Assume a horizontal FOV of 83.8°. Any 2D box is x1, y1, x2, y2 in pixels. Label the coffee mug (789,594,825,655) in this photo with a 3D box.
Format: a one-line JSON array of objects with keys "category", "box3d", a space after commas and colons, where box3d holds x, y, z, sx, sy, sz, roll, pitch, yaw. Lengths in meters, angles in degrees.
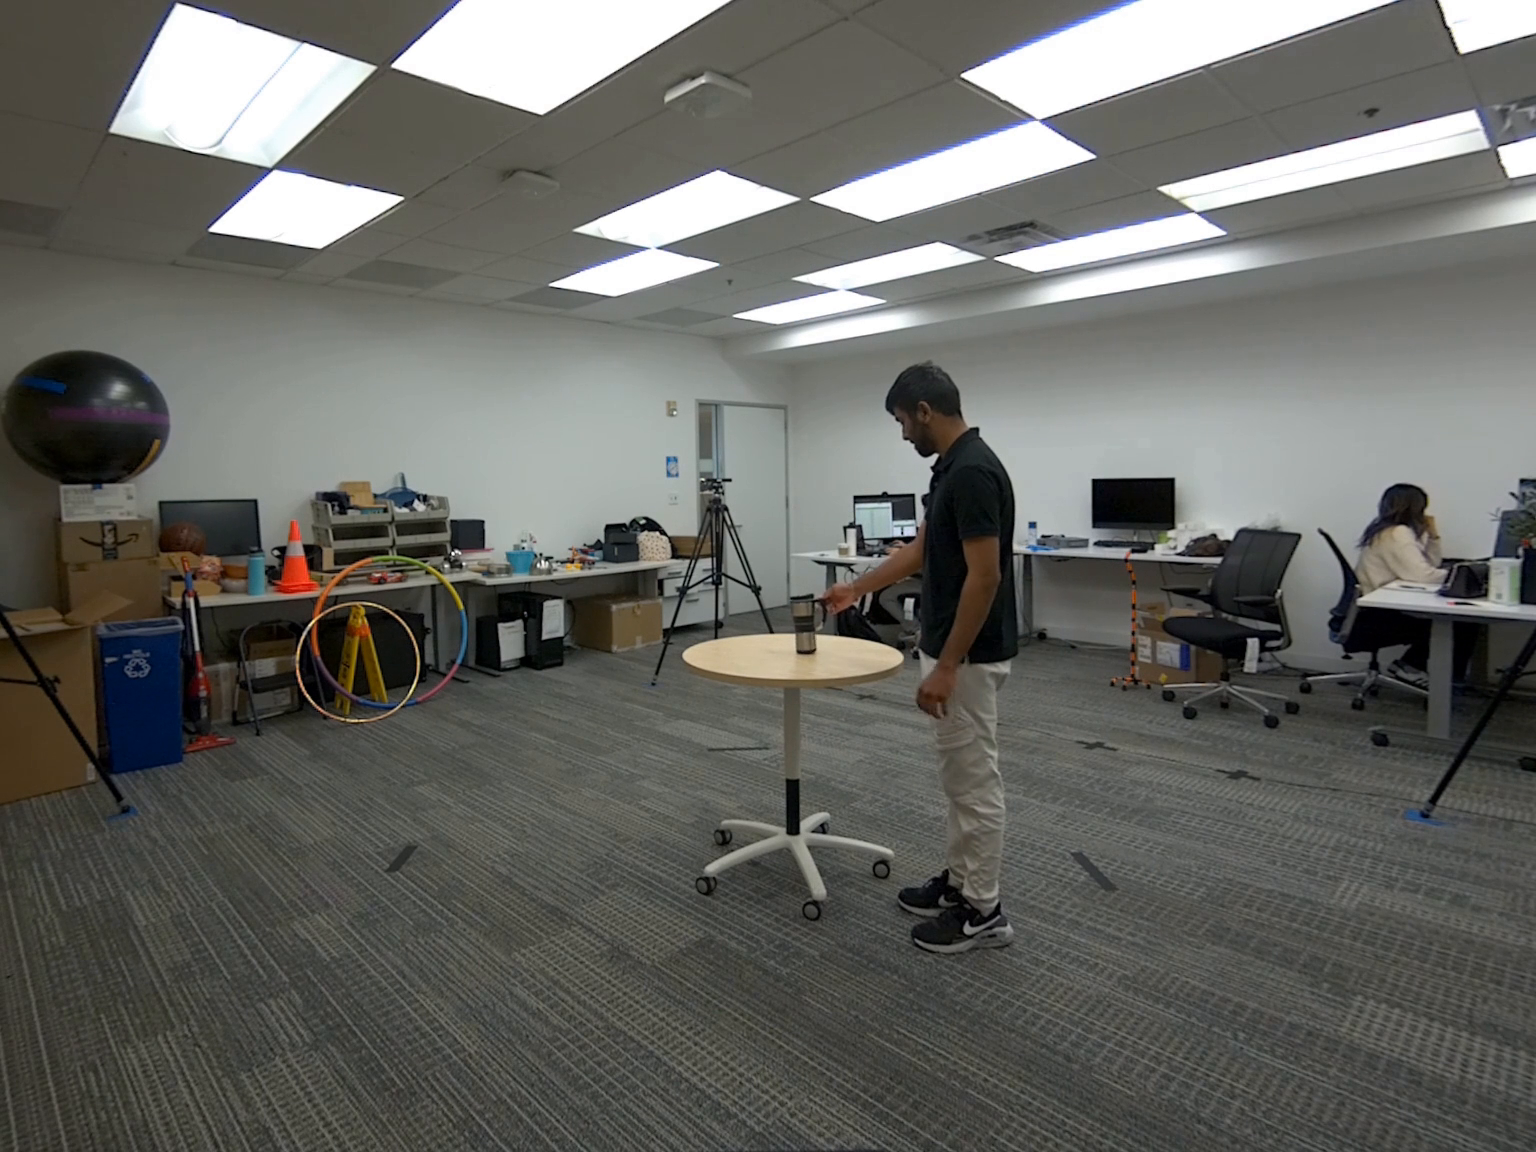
[{"category": "coffee mug", "box3d": [0.152, 0.163, 2.976, 0.125, 0.203, 0.085, -6, -3, 36]}]
